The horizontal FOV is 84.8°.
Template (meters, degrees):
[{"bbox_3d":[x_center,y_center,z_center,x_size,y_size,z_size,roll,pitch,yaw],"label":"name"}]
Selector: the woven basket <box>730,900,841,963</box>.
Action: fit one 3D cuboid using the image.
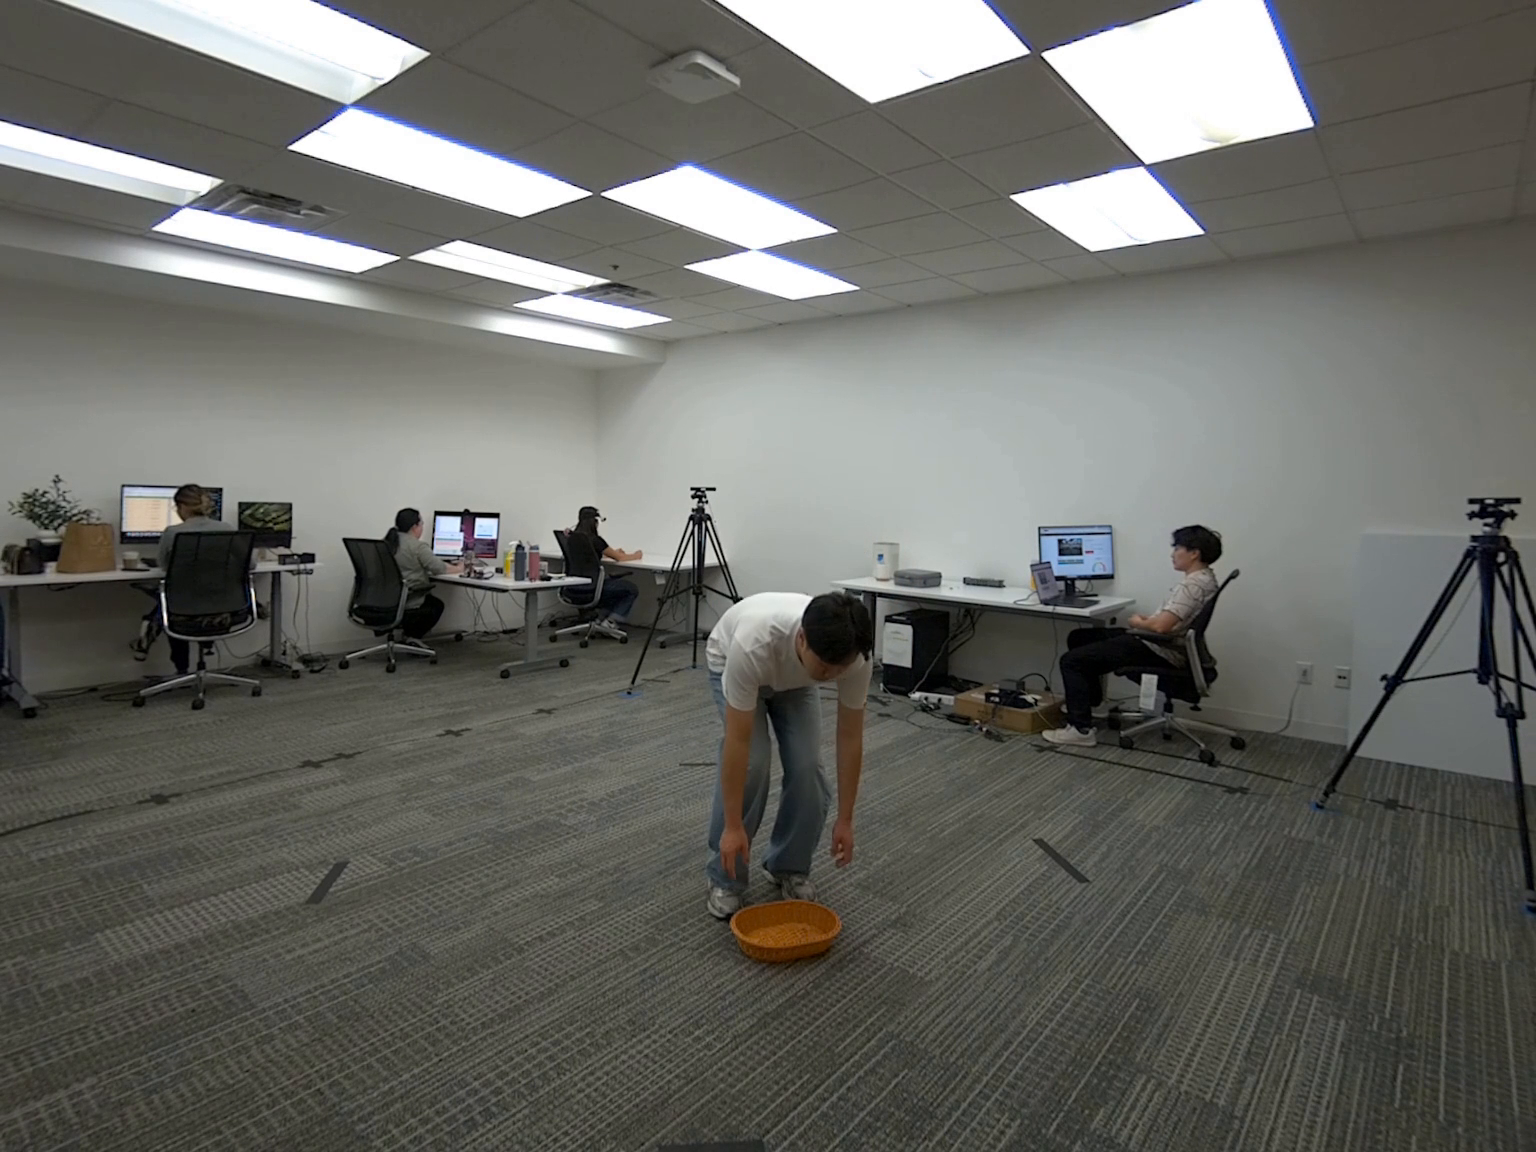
[{"bbox_3d":[0.047,1.078,2.595,0.343,0.073,0.258,-1,5,-20],"label":"woven basket"}]
